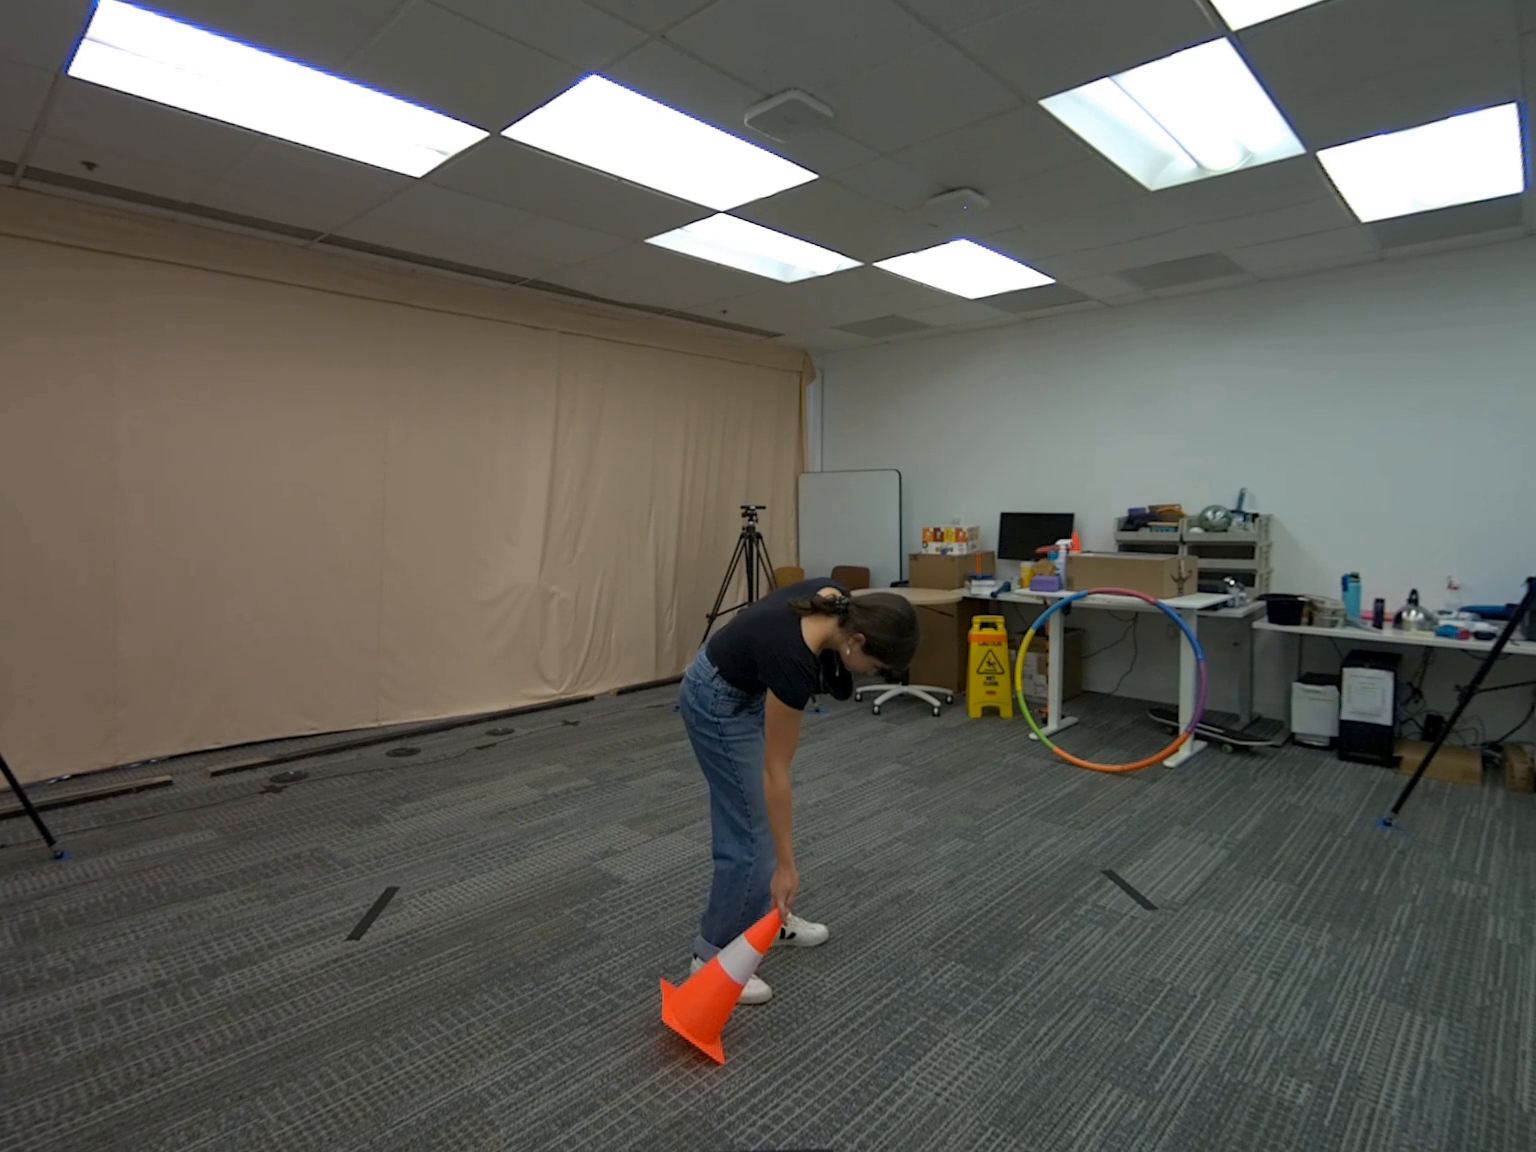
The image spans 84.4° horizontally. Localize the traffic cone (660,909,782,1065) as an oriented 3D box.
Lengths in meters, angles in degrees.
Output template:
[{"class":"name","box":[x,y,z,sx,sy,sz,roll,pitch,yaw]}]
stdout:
[{"class":"traffic cone","box":[-0.081,1.007,2.189,0.203,0.383,0.206,40,-3,-10]}]
